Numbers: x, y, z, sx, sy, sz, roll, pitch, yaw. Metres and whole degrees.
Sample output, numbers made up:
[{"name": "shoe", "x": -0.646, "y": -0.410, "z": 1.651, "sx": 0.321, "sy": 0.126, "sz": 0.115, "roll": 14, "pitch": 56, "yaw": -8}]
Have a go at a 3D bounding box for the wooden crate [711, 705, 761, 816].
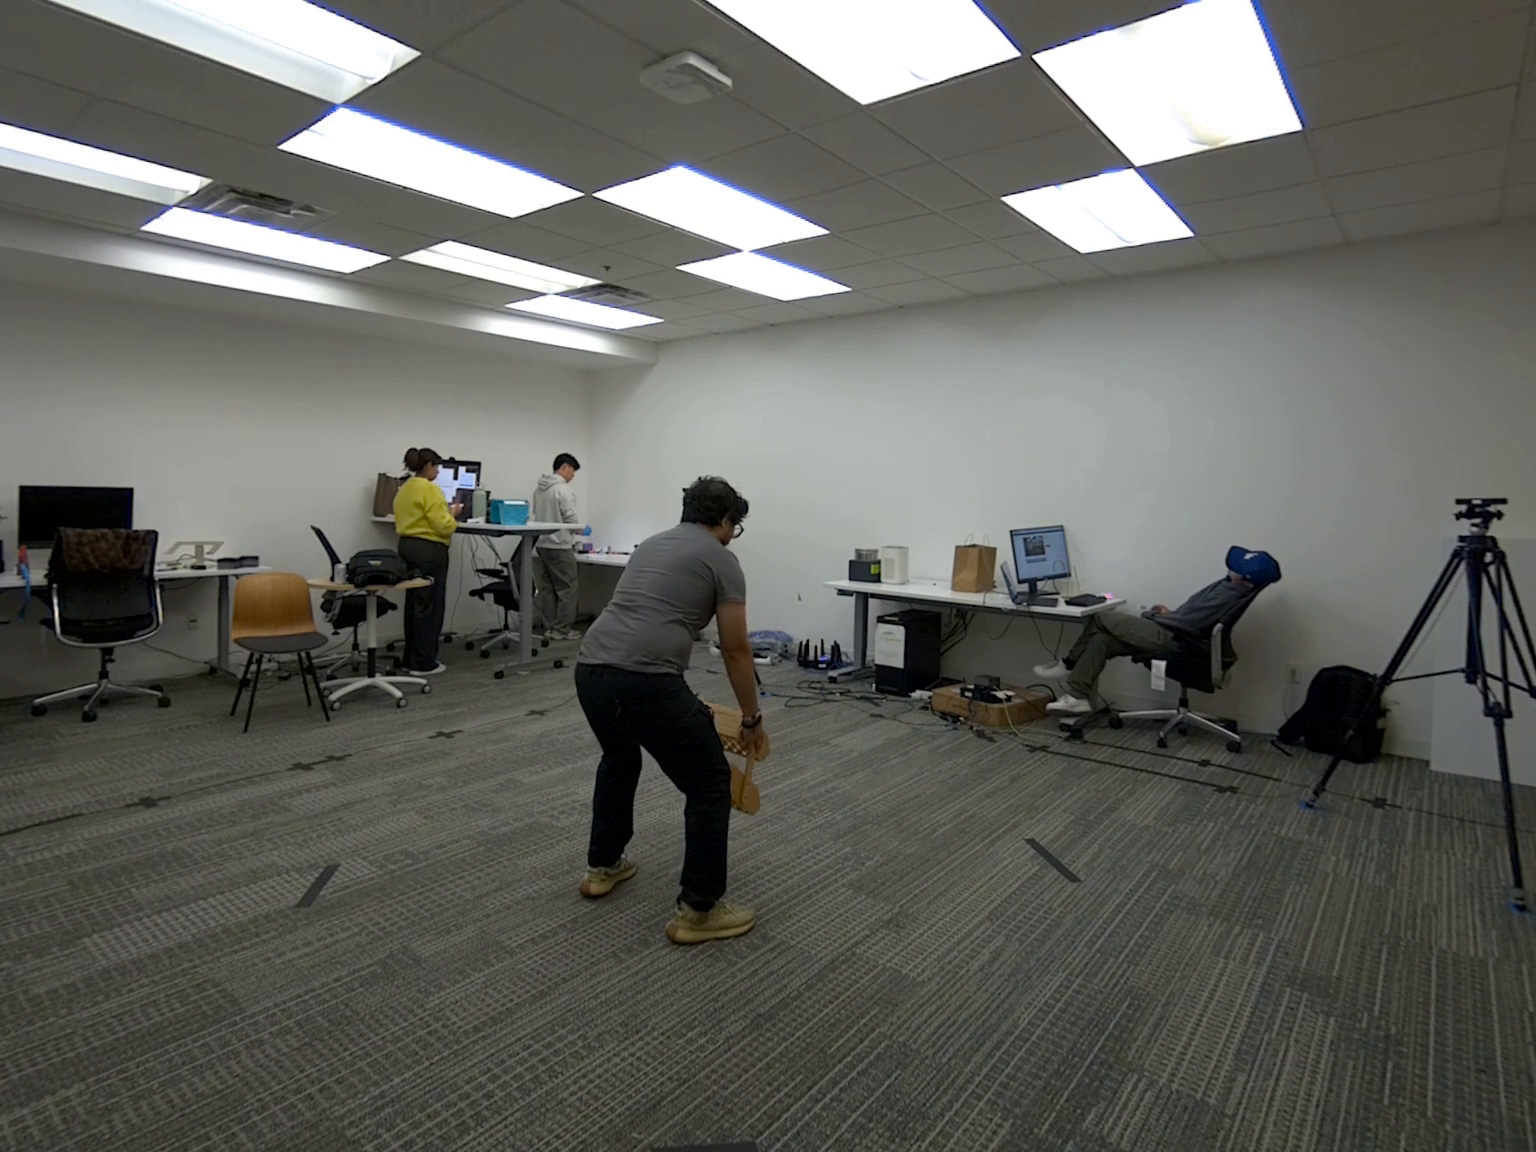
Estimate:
[{"name": "wooden crate", "x": -0.179, "y": 0.641, "z": 3.082, "sx": 0.336, "sy": 0.275, "sz": 0.289, "roll": 8, "pitch": -31, "yaw": 38}]
